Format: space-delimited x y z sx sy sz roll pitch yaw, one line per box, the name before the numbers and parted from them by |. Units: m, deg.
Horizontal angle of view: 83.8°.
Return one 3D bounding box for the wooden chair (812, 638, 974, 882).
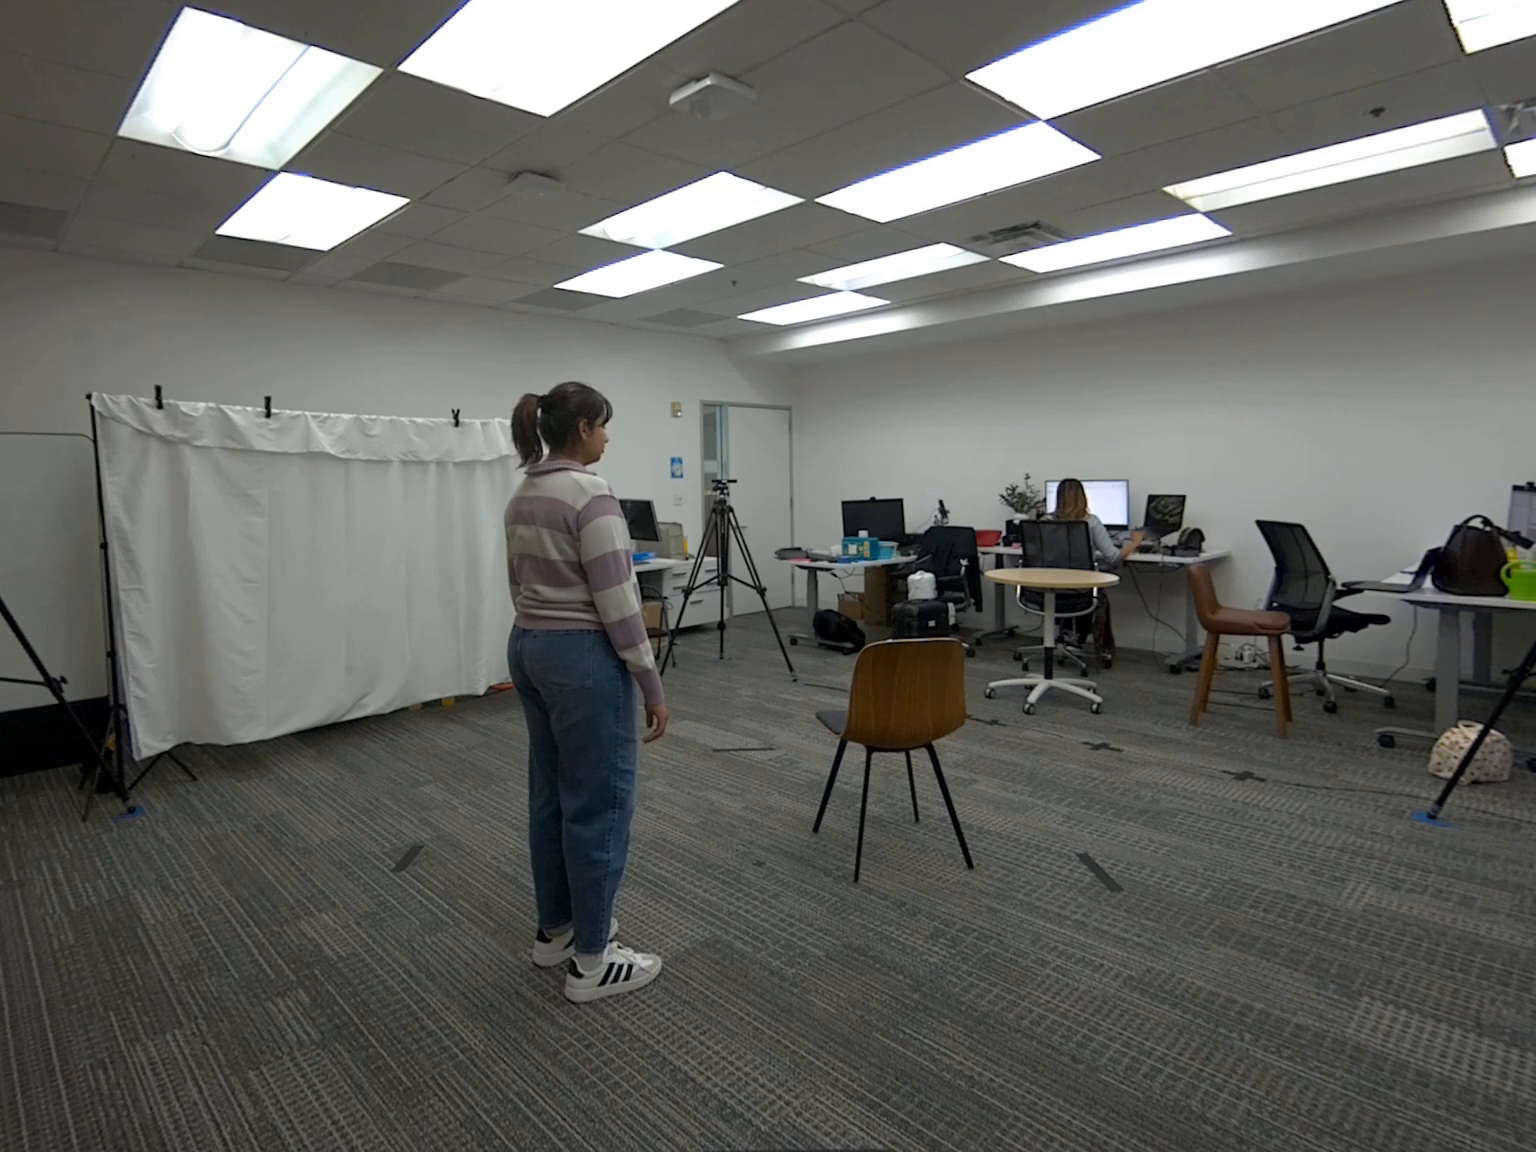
wooden chair | 0.441 0.603 3.190 0.472 0.871 0.534 -3 8 -15
